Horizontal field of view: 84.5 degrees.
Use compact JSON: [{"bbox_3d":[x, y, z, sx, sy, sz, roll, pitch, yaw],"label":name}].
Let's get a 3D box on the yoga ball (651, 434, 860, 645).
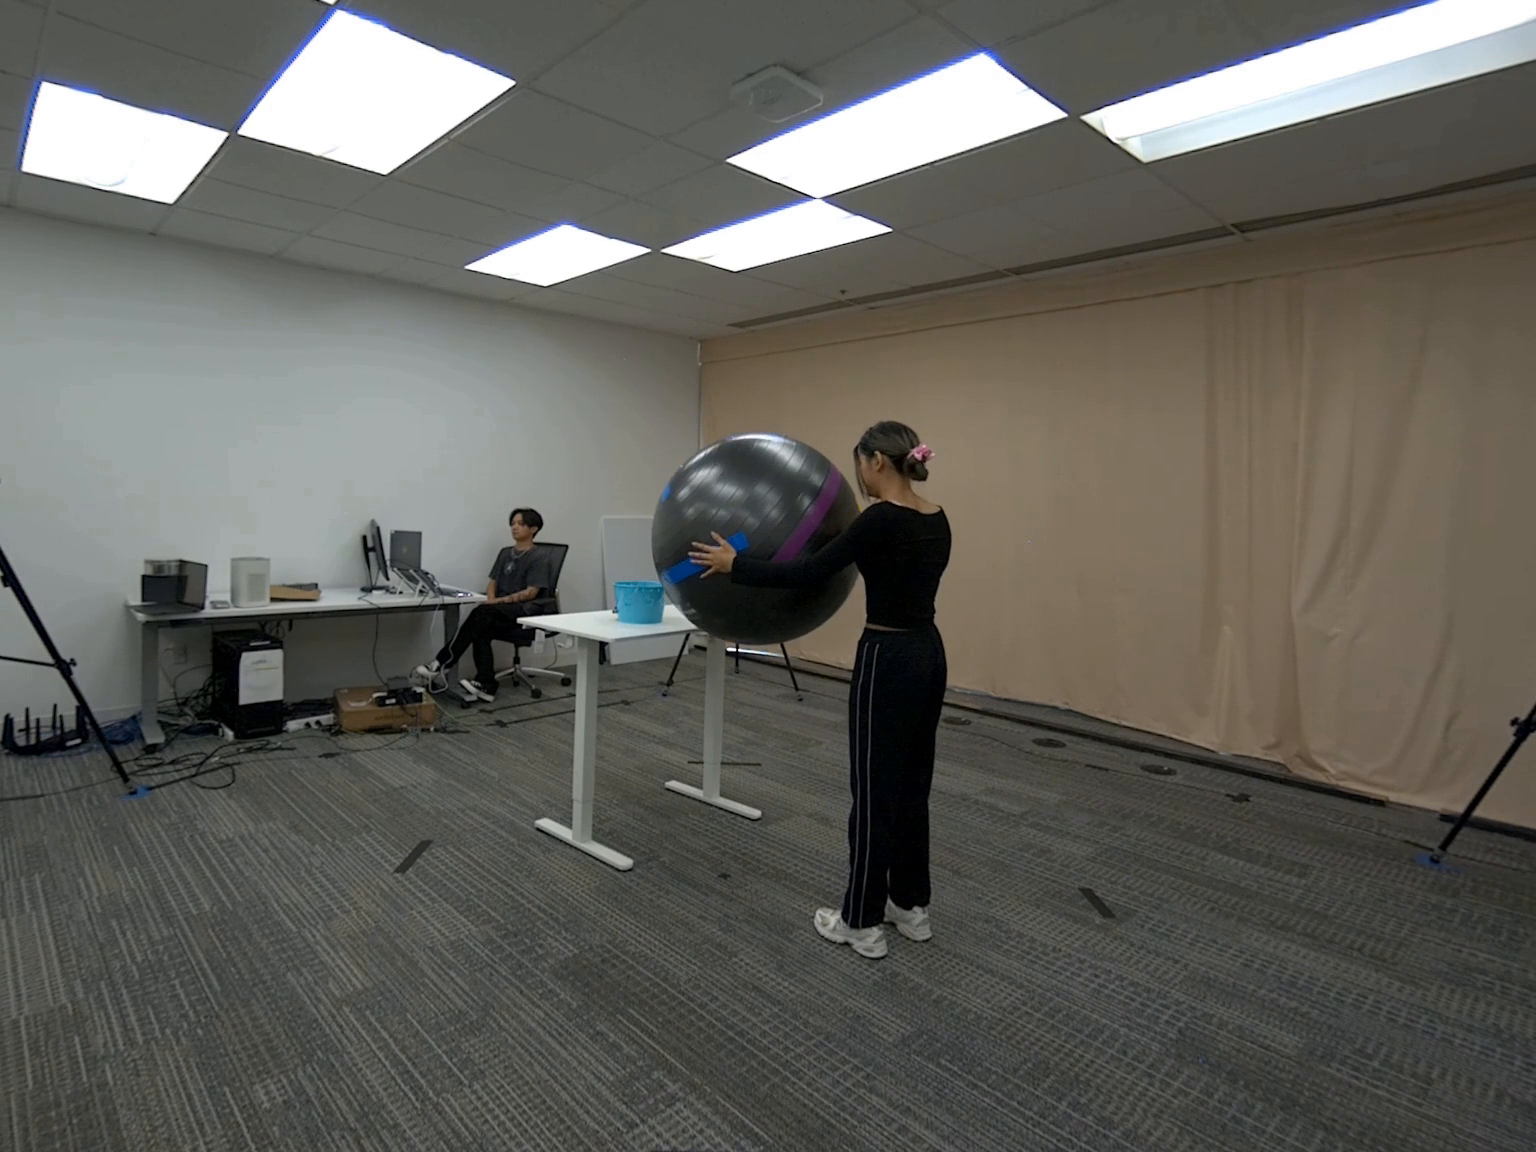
[{"bbox_3d":[-0.038,-0.127,3.018,0.757,0.756,0.760,1,4,-1],"label":"yoga ball"}]
